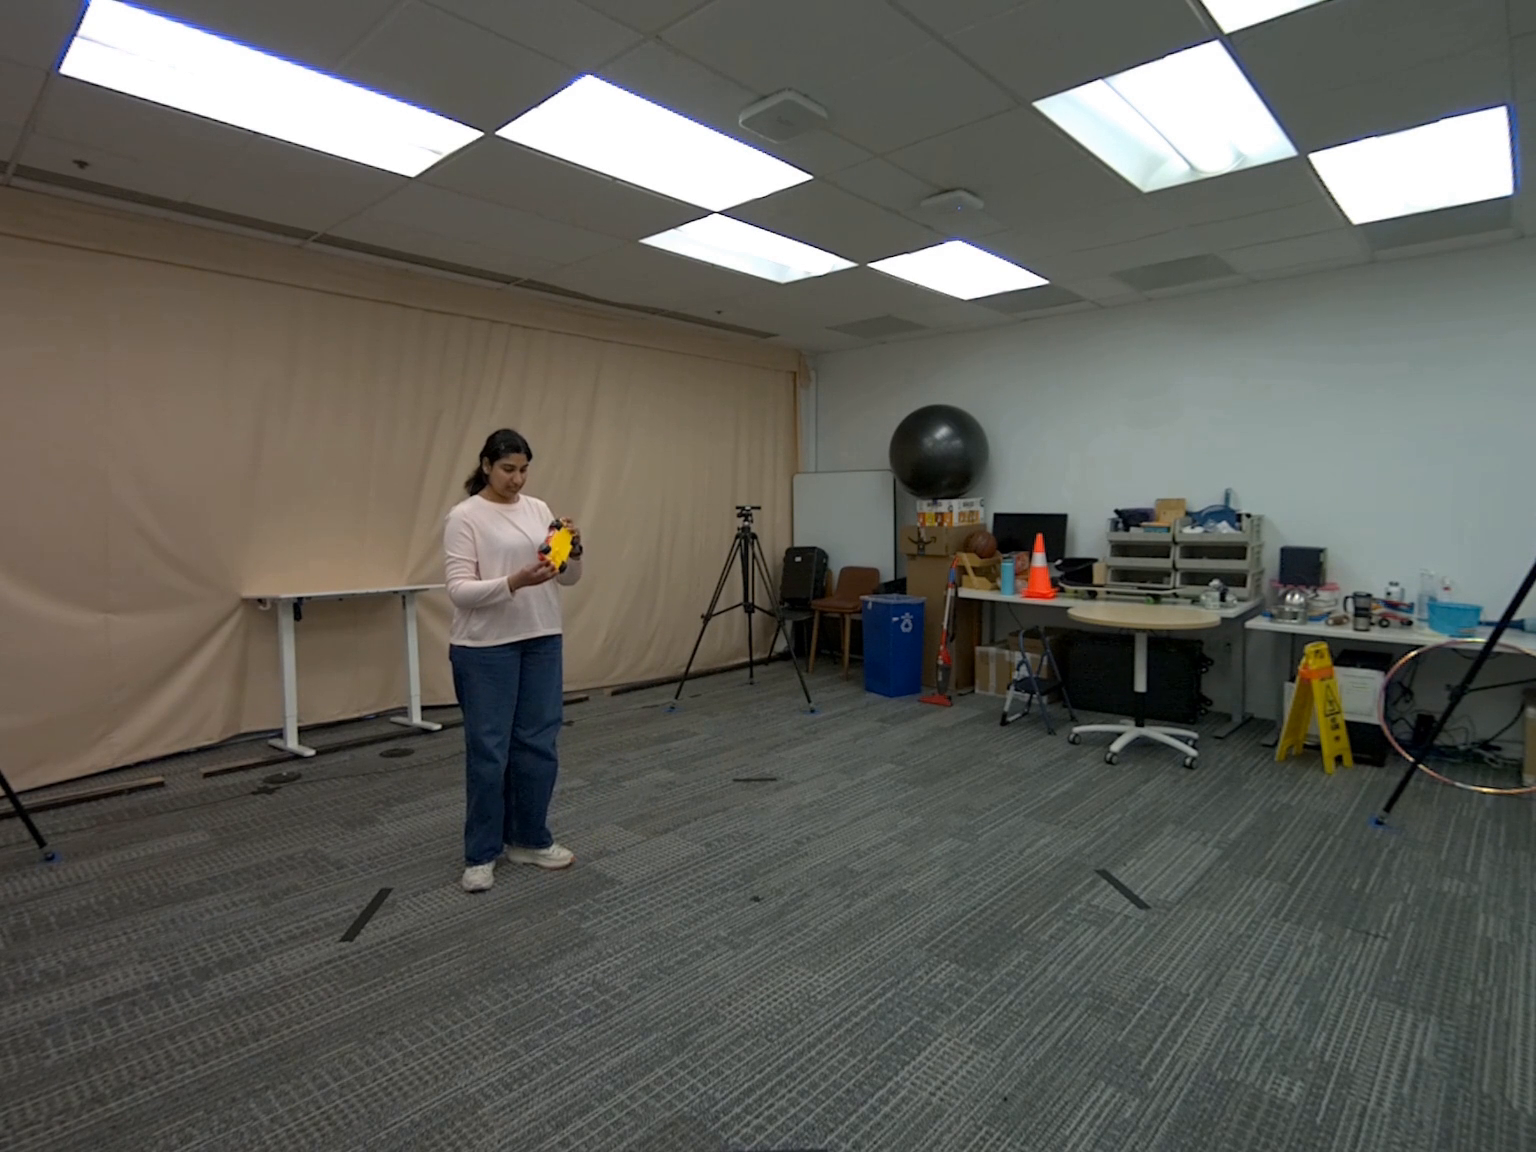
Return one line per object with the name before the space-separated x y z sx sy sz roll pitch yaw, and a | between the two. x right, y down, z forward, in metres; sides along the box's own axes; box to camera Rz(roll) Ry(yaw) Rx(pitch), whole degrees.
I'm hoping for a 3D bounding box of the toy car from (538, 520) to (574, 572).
toy car | -0.749 -0.112 2.984 0.084 0.126 0.260 -31 30 13
